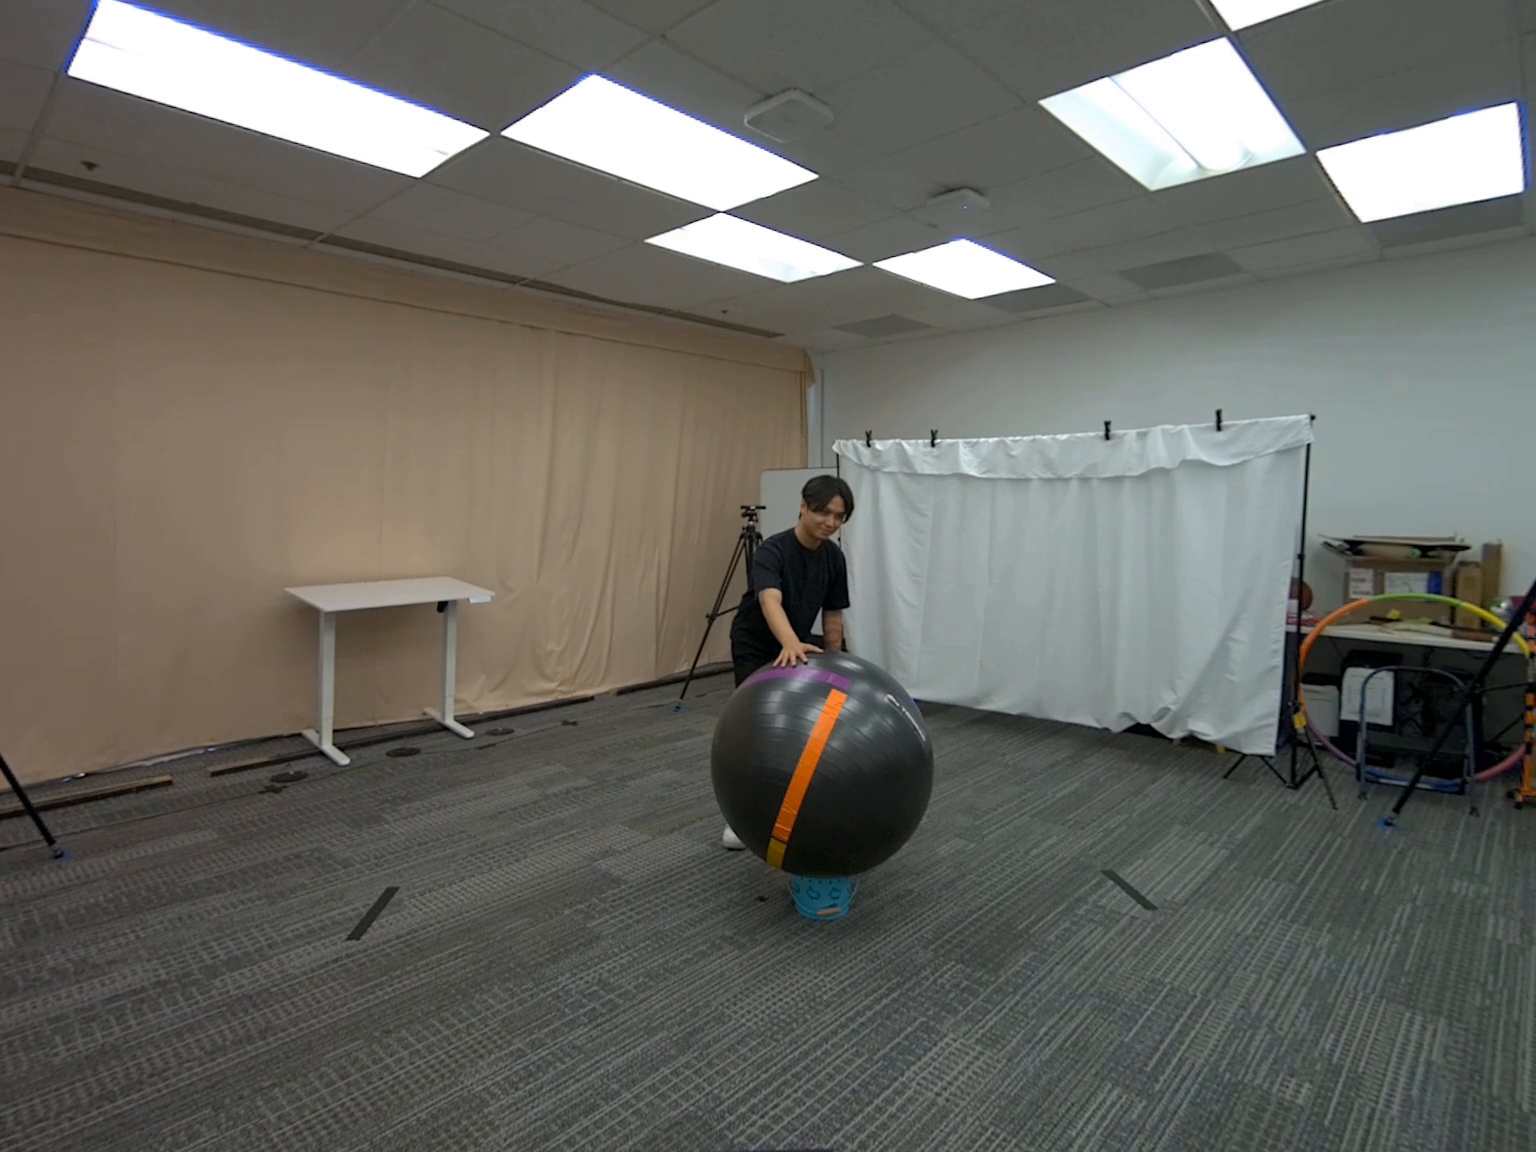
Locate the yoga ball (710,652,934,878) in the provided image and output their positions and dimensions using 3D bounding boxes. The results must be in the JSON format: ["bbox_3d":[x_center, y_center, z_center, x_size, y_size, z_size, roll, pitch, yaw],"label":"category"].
[{"bbox_3d":[0.186,0.642,2.892,0.757,0.756,0.760,0,4,-2],"label":"yoga ball"}]
